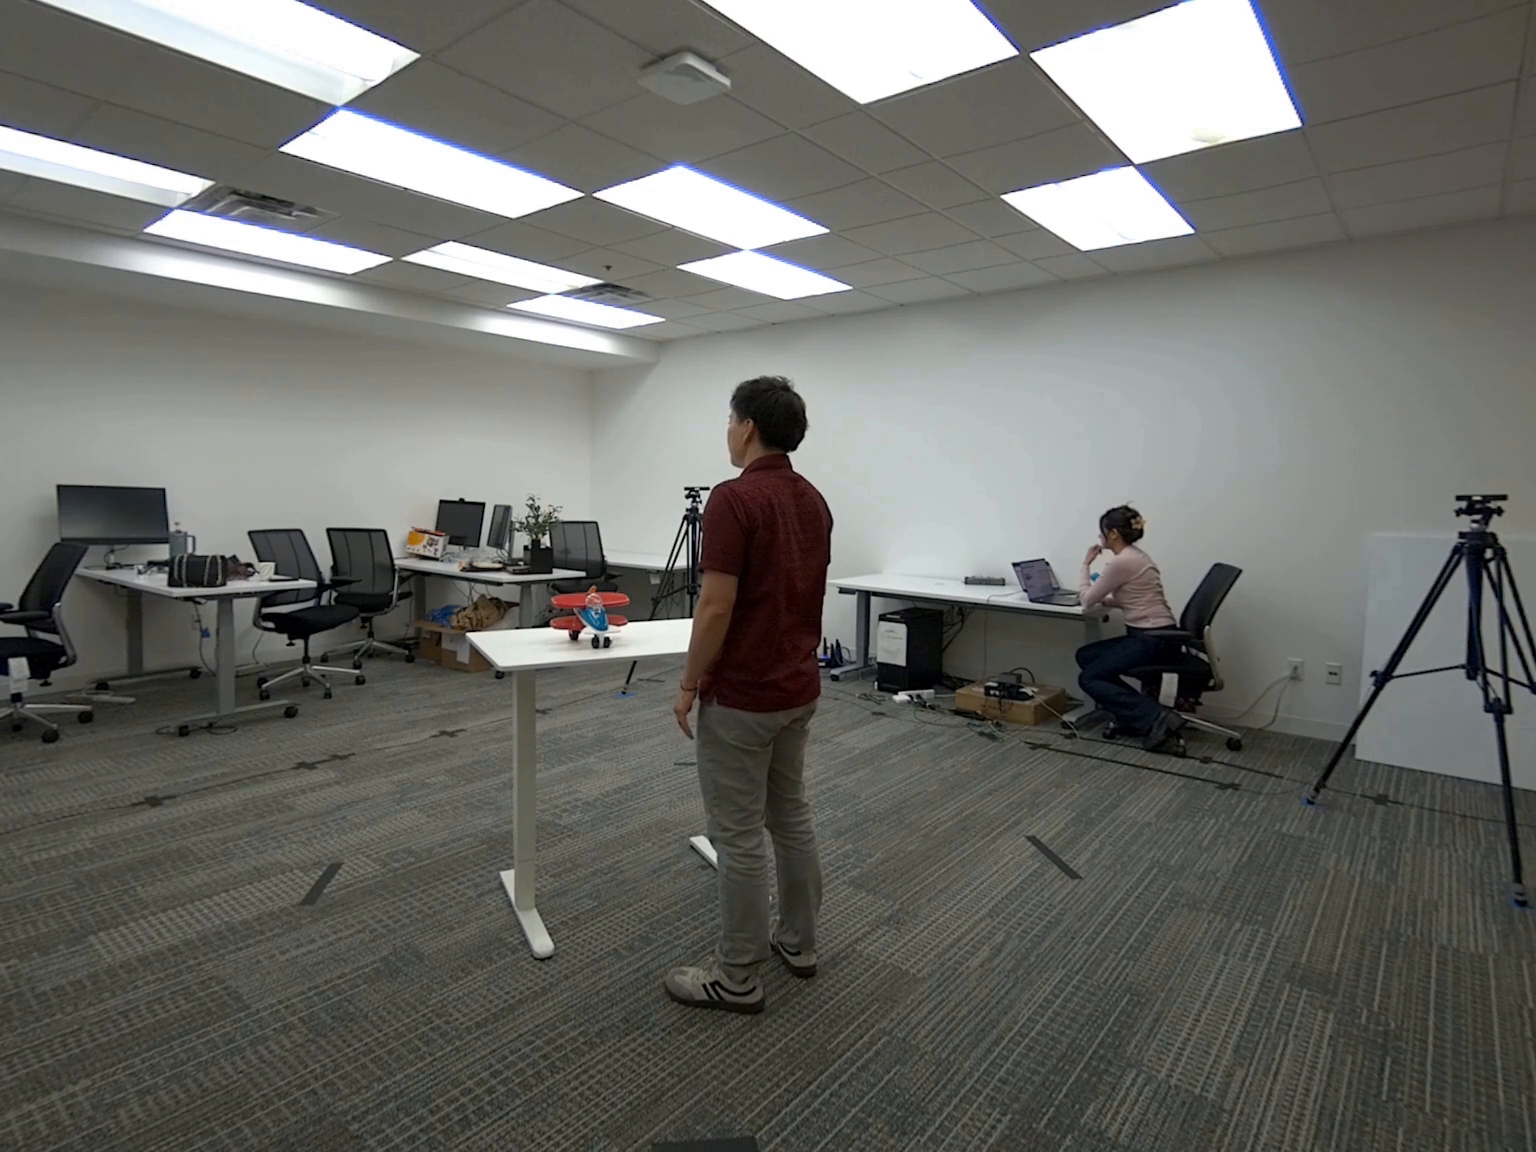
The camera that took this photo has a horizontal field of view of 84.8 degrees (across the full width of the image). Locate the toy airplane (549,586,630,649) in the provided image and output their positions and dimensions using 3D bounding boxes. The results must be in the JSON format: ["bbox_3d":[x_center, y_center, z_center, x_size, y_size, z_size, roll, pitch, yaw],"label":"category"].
[{"bbox_3d":[-0.566,0.138,2.765,0.268,0.156,0.244,4,6,38],"label":"toy airplane"}]
